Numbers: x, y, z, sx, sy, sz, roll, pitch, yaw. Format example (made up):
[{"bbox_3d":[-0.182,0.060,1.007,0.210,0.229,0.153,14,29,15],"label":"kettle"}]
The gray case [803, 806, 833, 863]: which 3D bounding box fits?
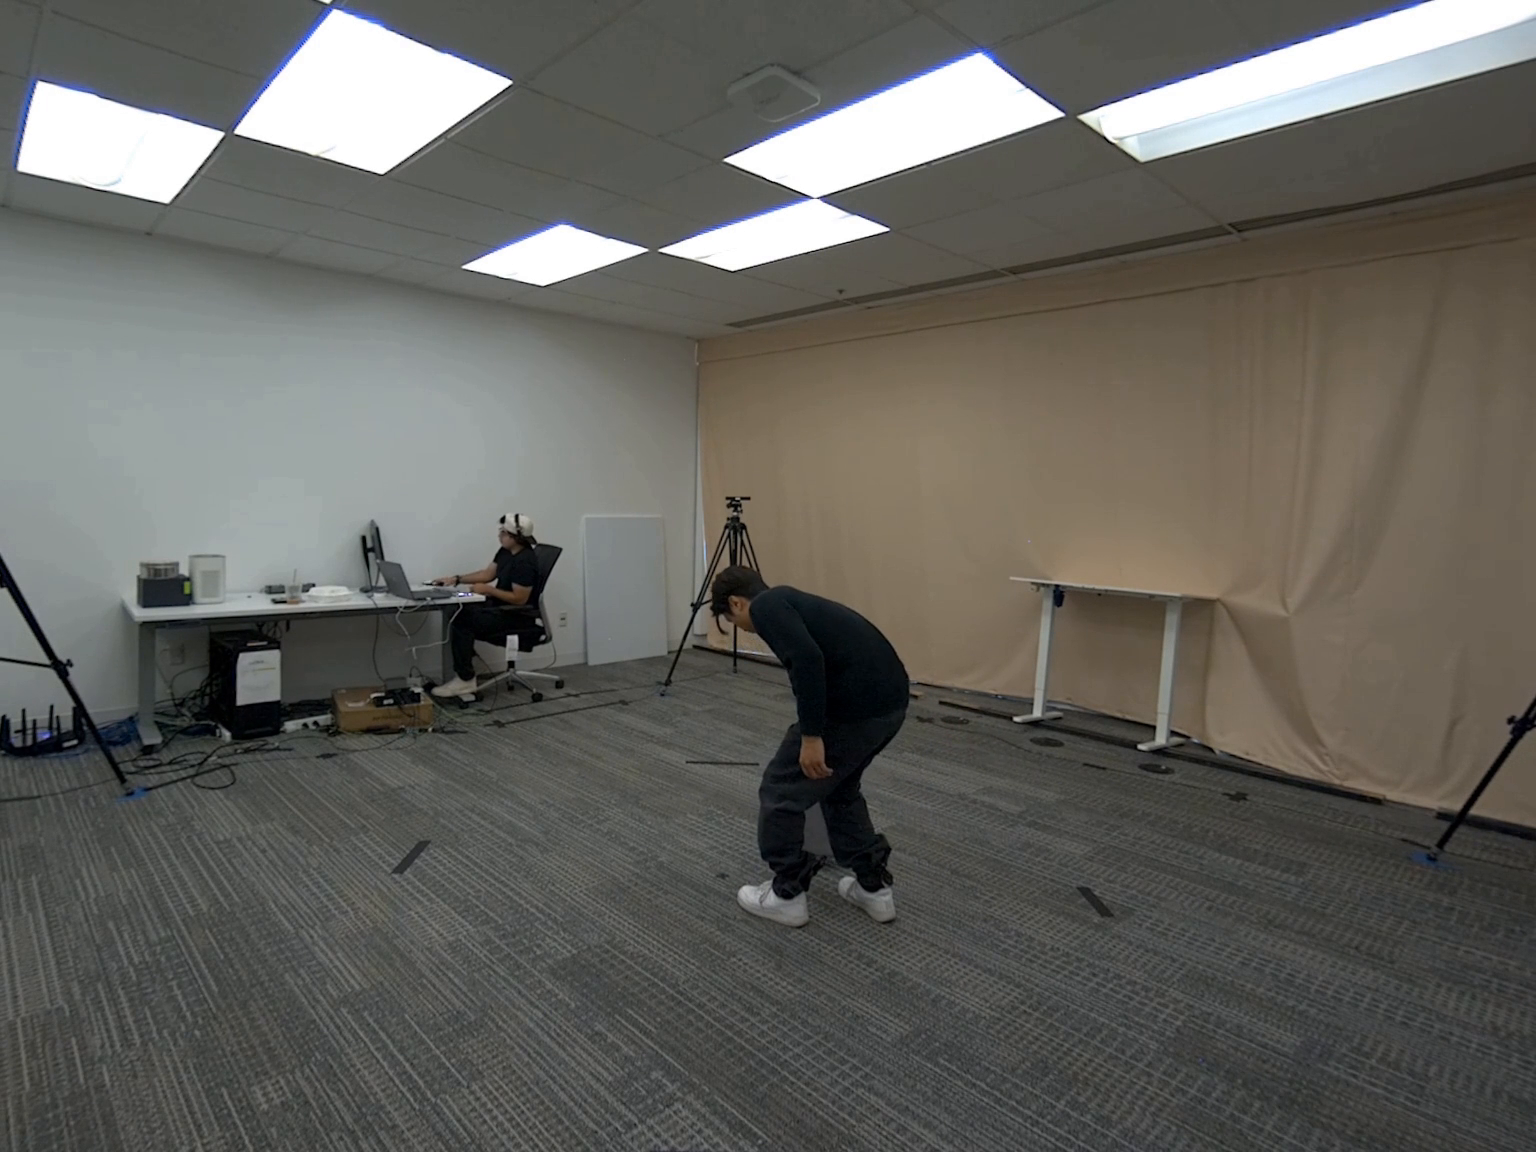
[{"bbox_3d":[0.165,0.938,3.239,0.260,0.262,0.102,-1,-8,17],"label":"gray case"}]
